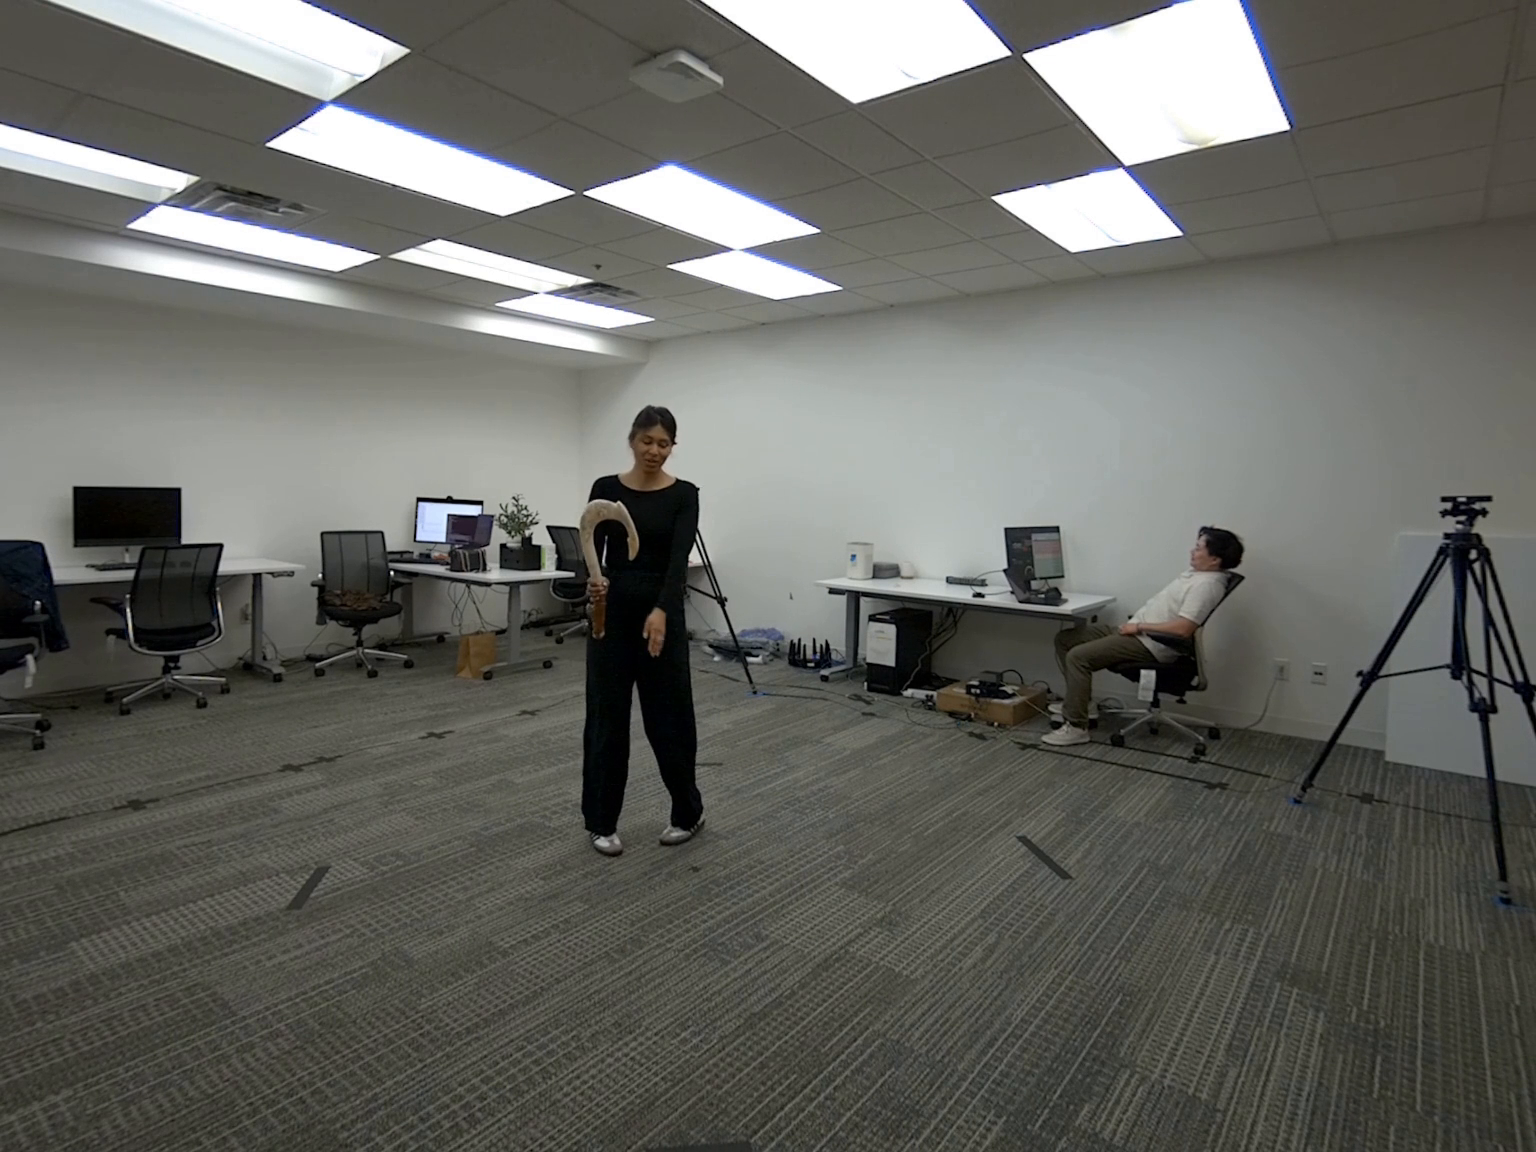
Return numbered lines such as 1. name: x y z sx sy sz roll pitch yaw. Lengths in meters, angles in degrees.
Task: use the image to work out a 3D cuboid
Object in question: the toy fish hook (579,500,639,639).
1. toy fish hook: -0.567 0.000 2.911 0.231 0.499 0.048 11 18 23
